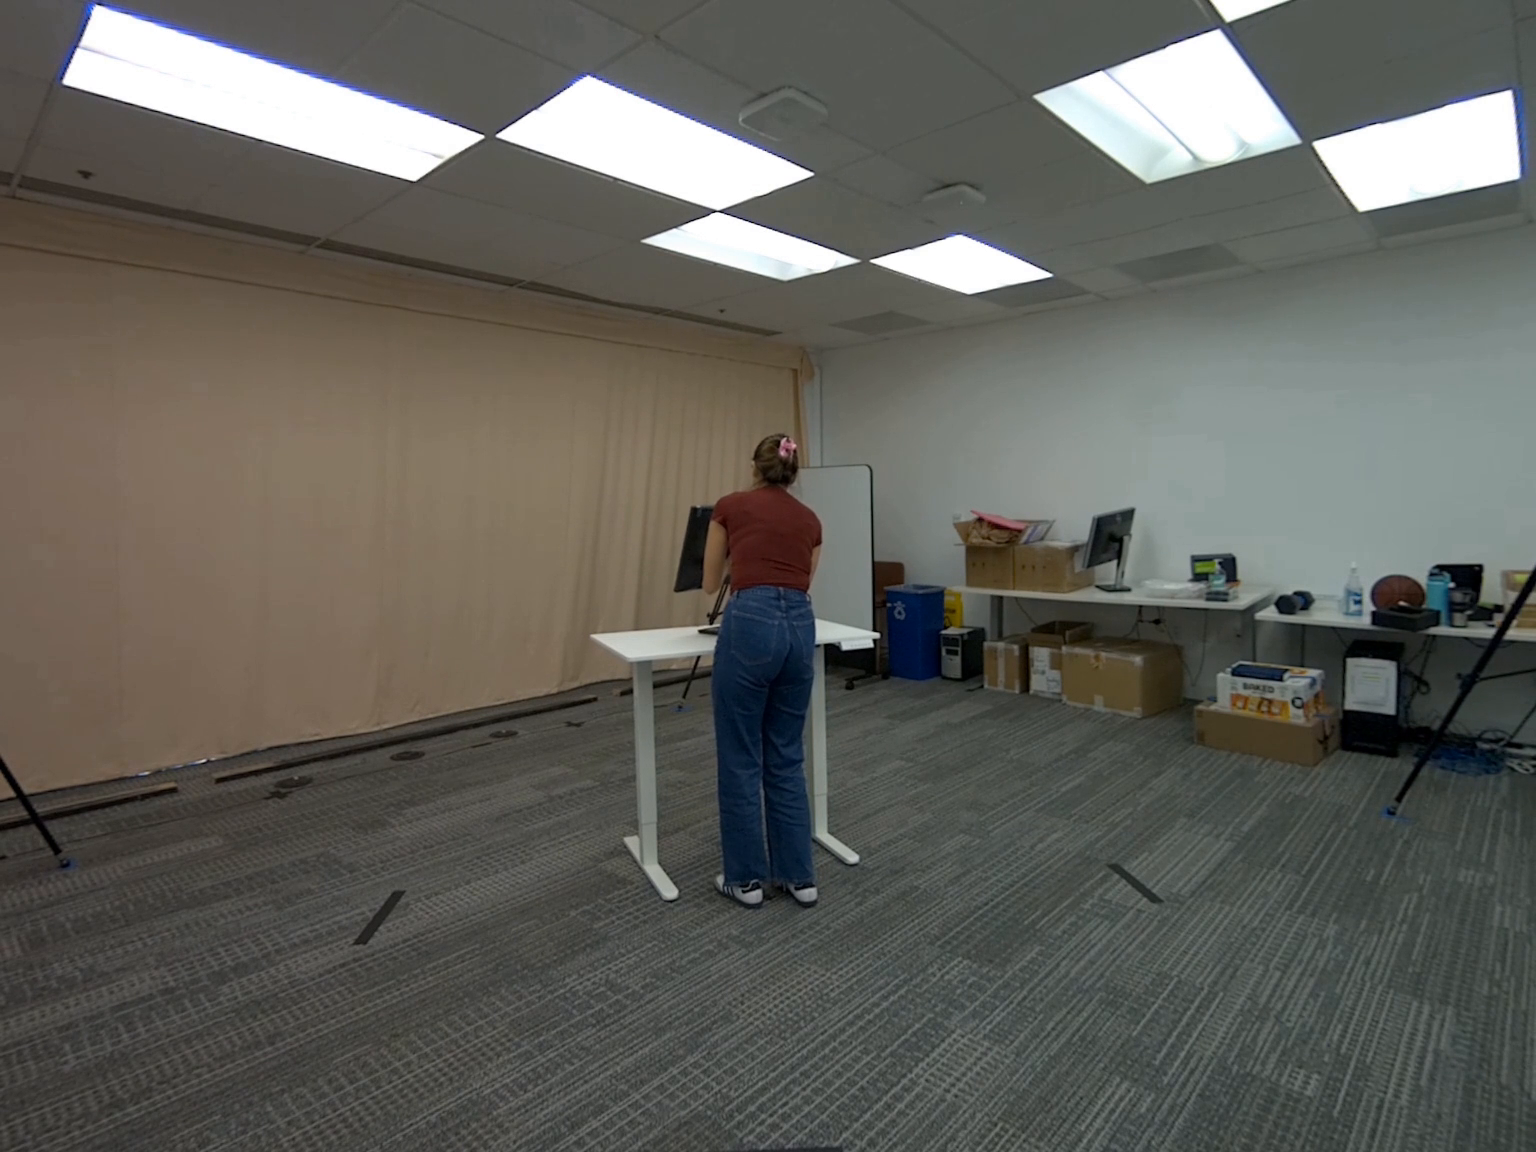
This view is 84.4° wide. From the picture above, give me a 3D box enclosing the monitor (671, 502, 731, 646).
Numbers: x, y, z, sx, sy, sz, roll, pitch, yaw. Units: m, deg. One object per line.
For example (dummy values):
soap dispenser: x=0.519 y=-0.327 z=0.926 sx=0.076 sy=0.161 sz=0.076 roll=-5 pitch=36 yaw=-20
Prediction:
monitor: x=-0.139 y=-0.033 z=3.419 sx=0.193 sy=0.521 sz=0.523 roll=5 pitch=8 yaw=37
